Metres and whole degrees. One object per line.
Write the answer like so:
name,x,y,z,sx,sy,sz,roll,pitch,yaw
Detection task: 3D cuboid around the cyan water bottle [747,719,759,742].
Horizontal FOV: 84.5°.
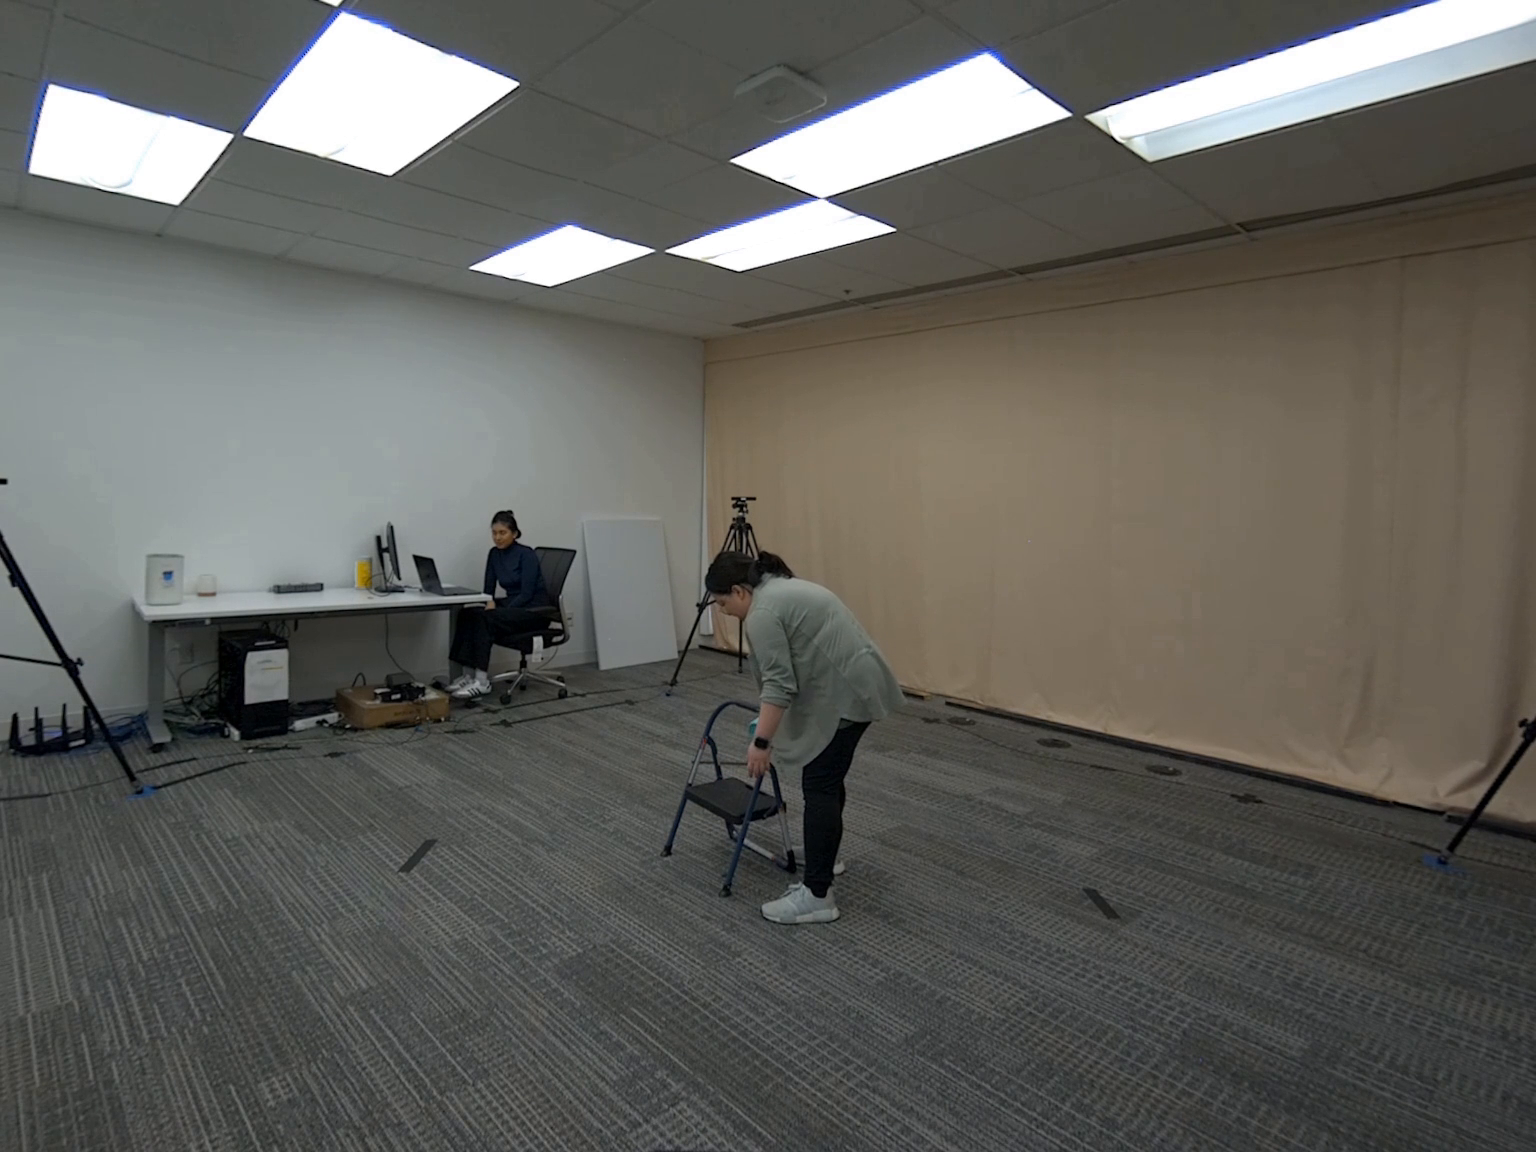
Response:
cyan water bottle,0.018,0.589,3.433,0.094,0.091,0.280,3,15,27
